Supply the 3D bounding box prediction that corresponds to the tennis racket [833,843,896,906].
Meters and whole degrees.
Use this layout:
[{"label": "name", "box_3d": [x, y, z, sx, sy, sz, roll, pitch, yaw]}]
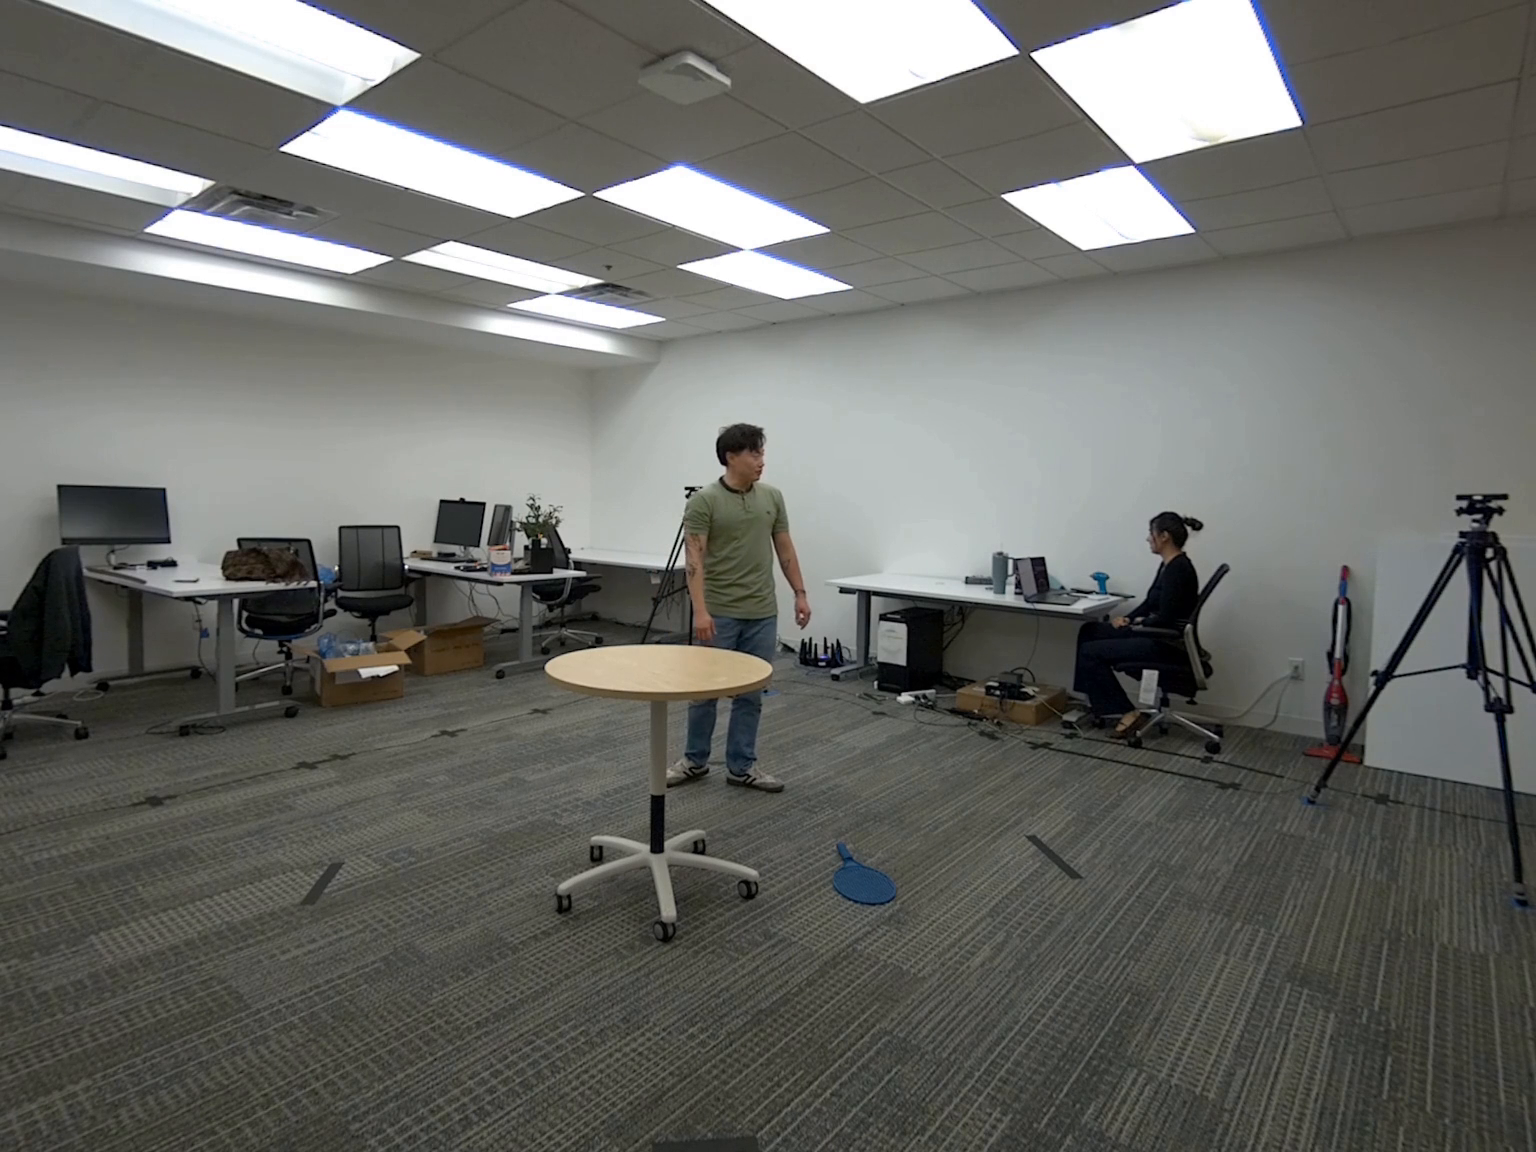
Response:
[{"label": "tennis racket", "box_3d": [0.315, 1.065, 3.069, 0.212, 0.031, 0.439, 1, 7, -9]}]
